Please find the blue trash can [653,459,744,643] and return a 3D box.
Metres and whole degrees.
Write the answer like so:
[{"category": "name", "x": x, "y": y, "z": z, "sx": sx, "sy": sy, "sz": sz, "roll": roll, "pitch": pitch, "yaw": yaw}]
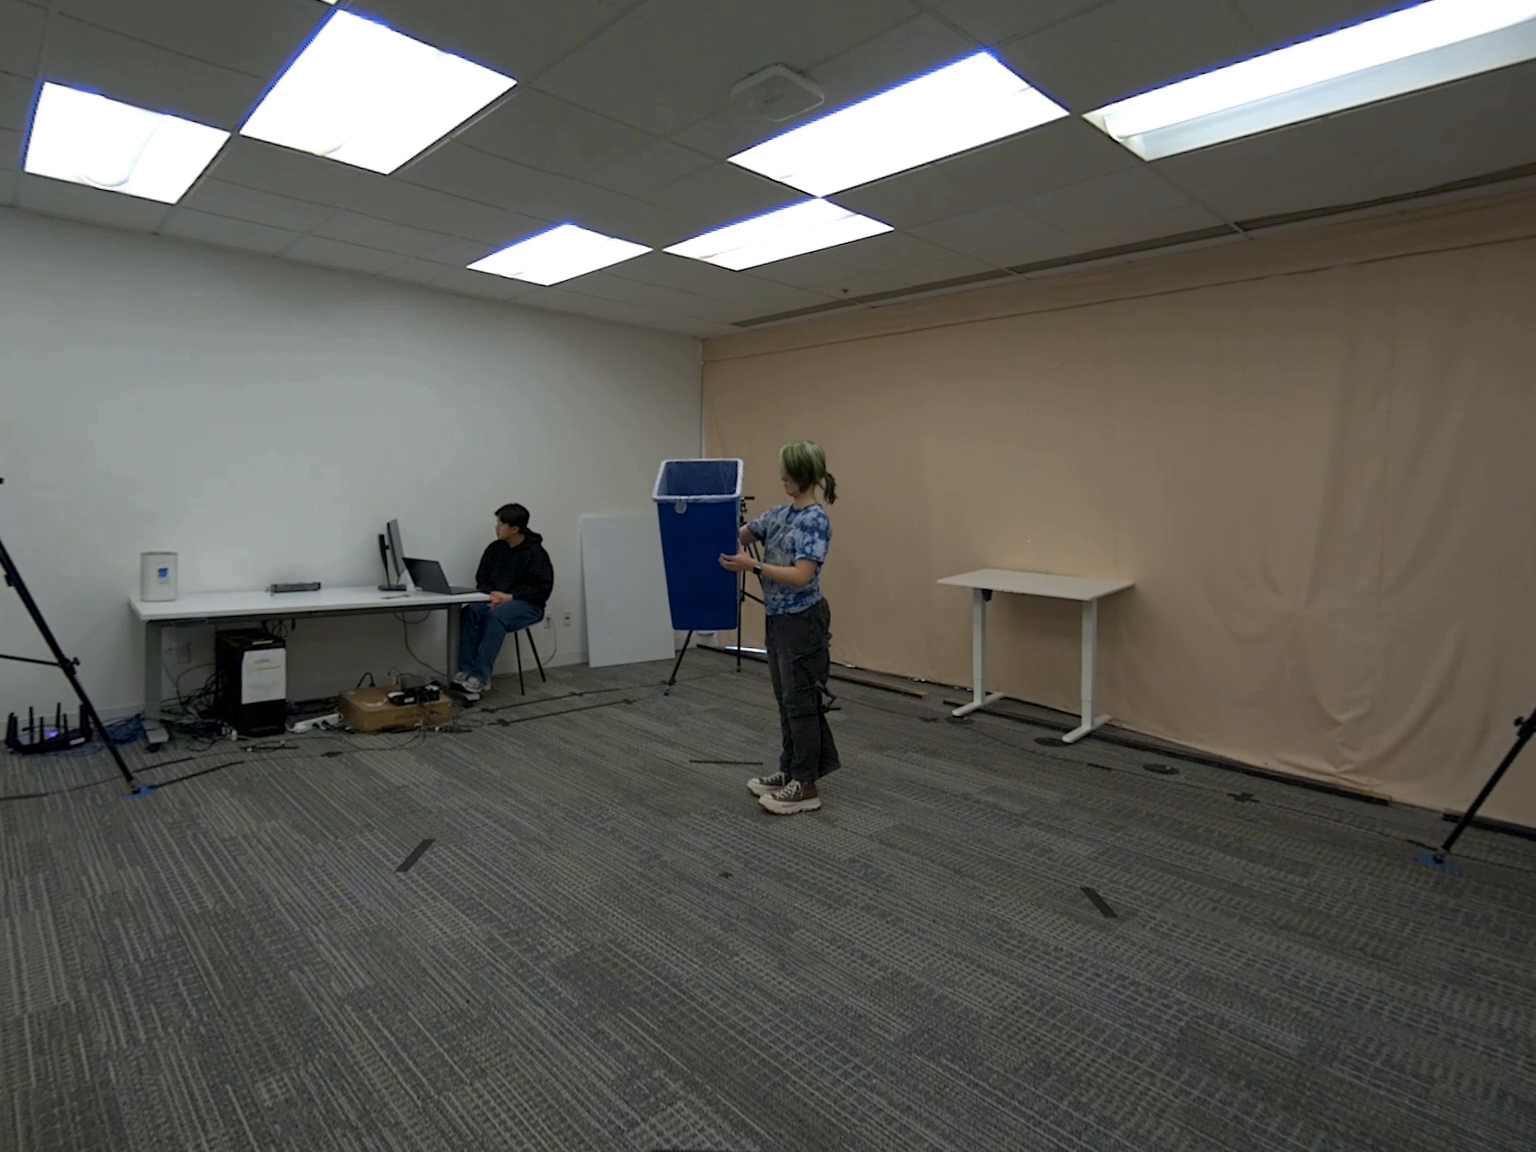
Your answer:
[{"category": "blue trash can", "x": -0.306, "y": -0.134, "z": 3.821, "sx": 0.378, "sy": 0.699, "sz": 0.381, "roll": 0, "pitch": 34, "yaw": 1}]
